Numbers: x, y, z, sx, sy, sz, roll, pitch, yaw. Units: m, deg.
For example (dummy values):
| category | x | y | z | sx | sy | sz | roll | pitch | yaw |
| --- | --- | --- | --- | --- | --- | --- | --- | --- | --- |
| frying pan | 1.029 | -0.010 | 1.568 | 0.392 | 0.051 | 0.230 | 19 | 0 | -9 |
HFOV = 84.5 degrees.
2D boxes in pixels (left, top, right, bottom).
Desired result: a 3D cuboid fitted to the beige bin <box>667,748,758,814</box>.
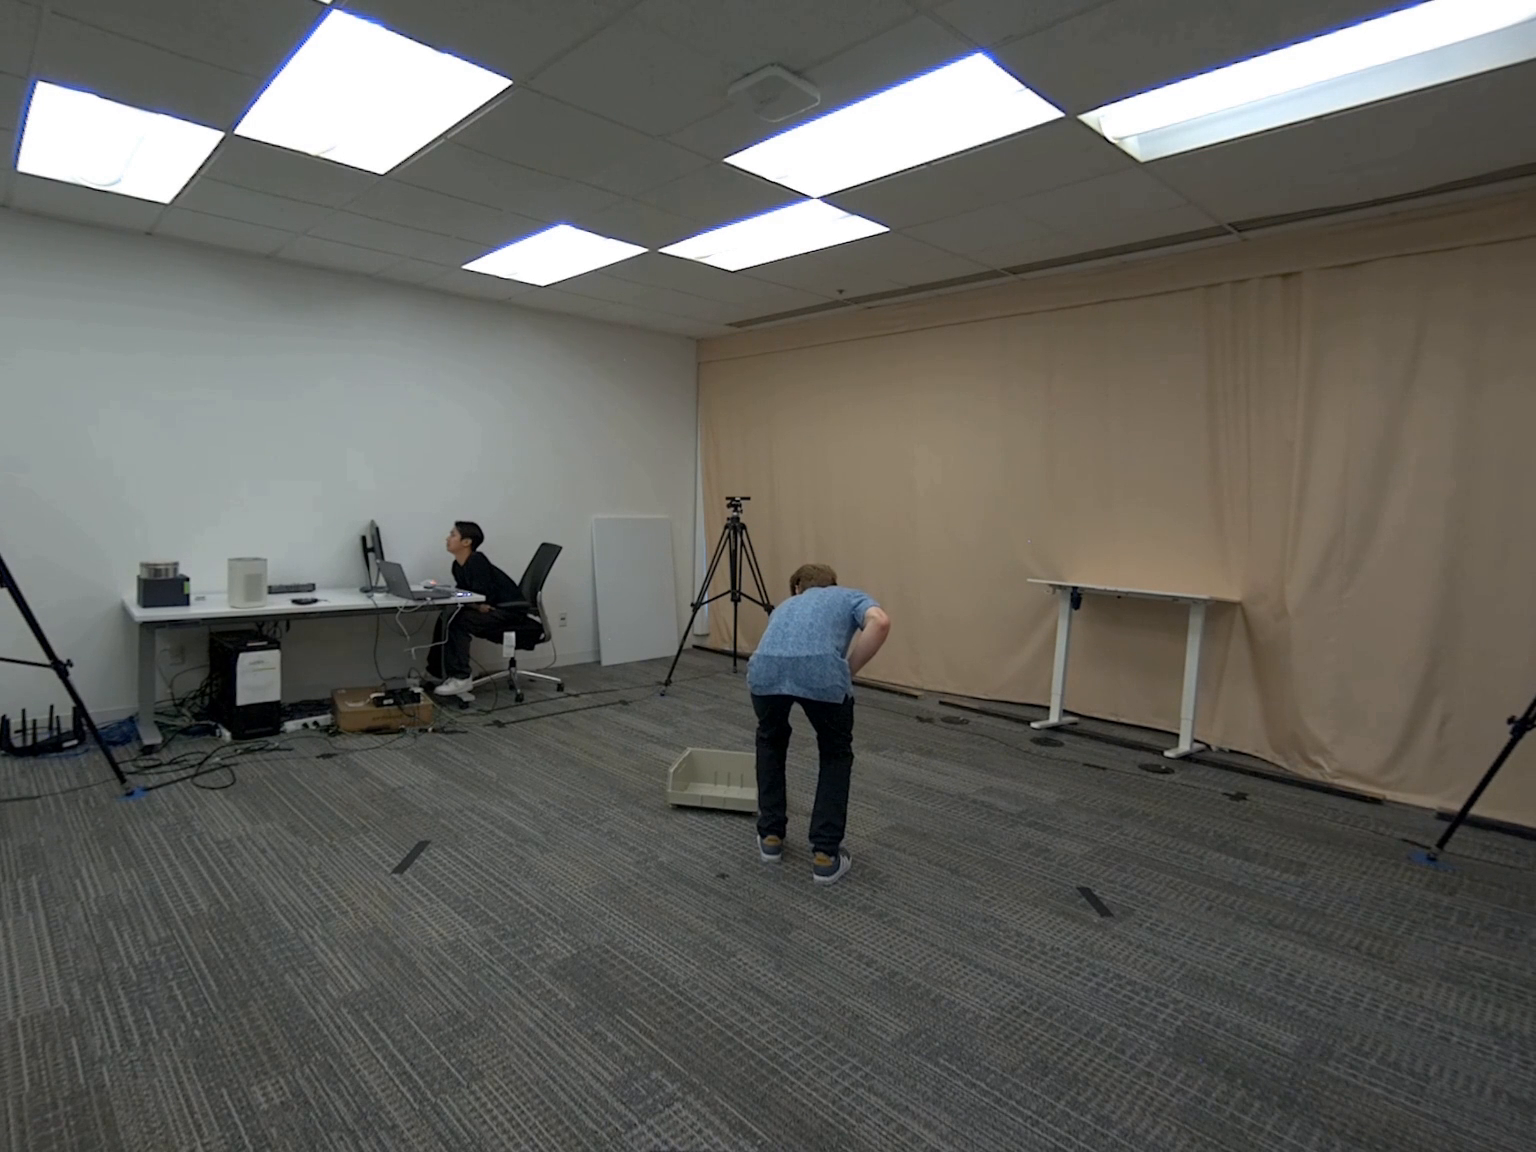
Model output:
| category | x | y | z | sx | sy | sz | roll | pitch | yaw |
| --- | --- | --- | --- | --- | --- | --- | --- | --- | --- |
| beige bin | -0.221 | 0.948 | 3.878 | 0.426 | 0.188 | 0.375 | 2 | 4 | 10 |
